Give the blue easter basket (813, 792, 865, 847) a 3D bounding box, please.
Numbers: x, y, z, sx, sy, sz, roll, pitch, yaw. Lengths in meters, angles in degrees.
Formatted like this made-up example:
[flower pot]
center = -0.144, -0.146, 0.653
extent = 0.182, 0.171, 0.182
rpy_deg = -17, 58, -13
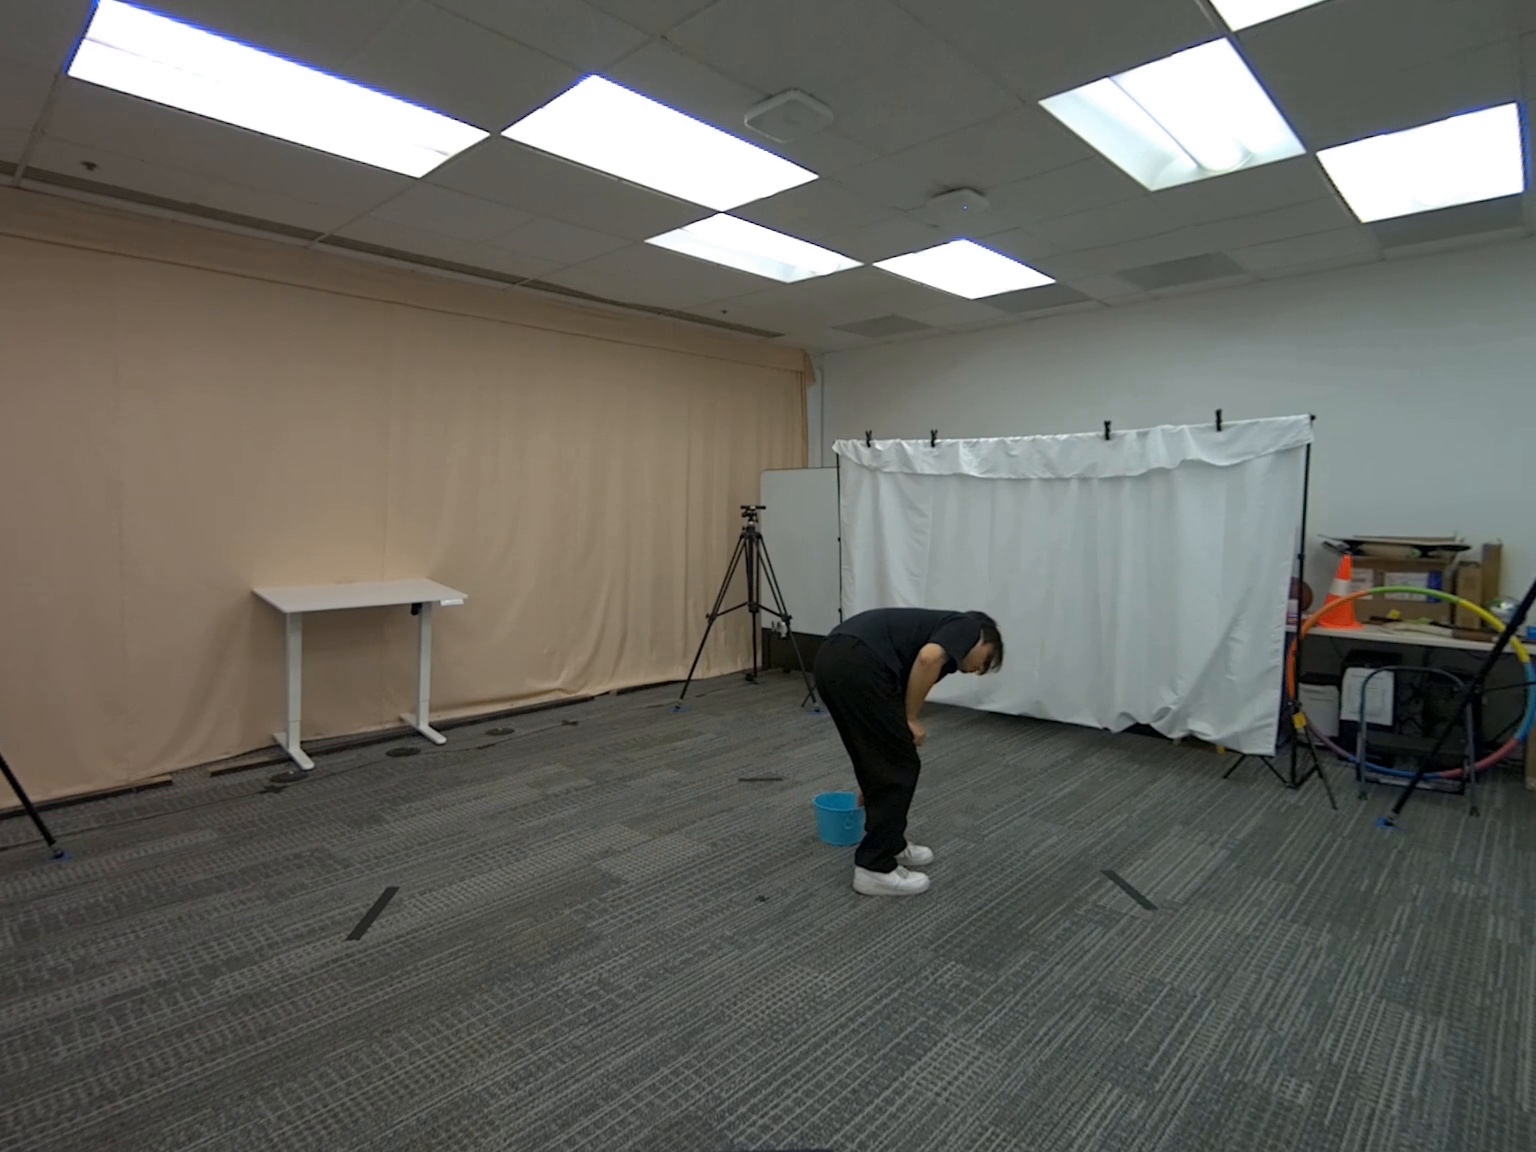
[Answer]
[blue easter basket]
center = 0.302, 1.016, 3.532
extent = 0.243, 0.155, 0.244
rpy_deg = -1, 4, -2
